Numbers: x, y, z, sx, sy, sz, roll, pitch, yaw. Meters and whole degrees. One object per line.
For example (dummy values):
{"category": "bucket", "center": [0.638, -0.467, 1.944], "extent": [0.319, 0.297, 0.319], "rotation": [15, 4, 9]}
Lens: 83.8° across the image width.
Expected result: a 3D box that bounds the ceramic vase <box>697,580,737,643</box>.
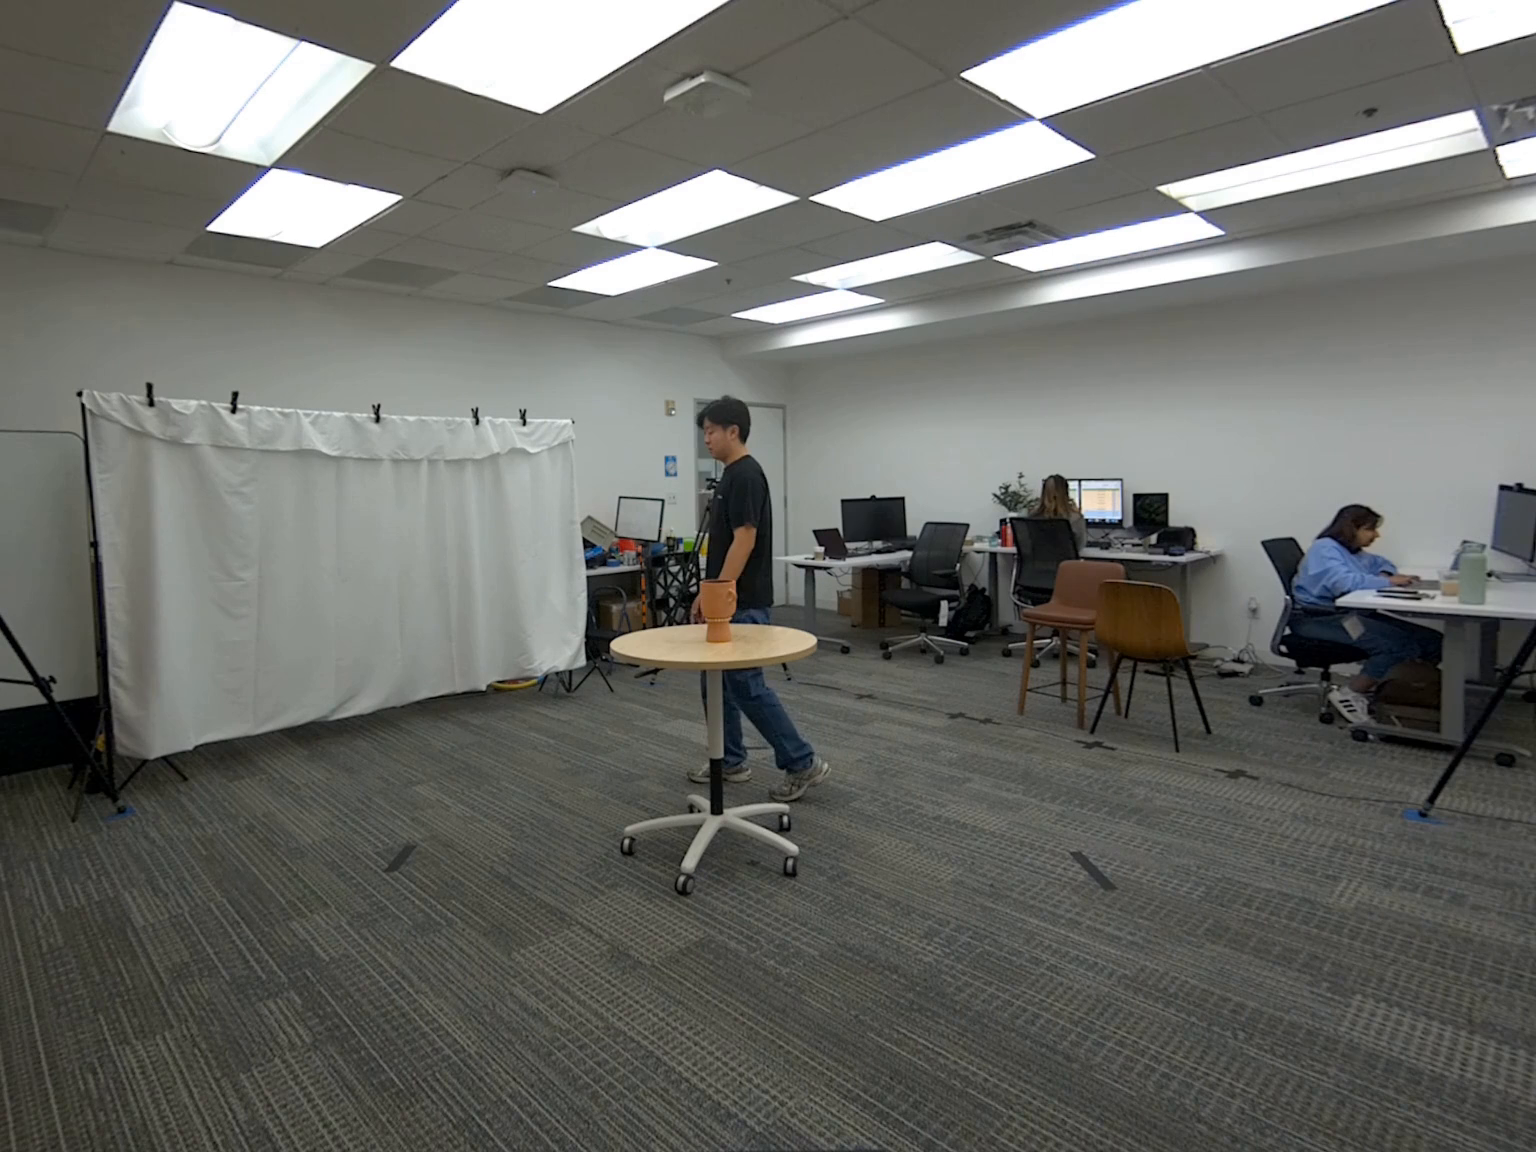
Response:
{"category": "ceramic vase", "center": [-0.186, 0.135, 3.172], "extent": [0.134, 0.219, 0.160], "rotation": [-2, 4, -5]}
